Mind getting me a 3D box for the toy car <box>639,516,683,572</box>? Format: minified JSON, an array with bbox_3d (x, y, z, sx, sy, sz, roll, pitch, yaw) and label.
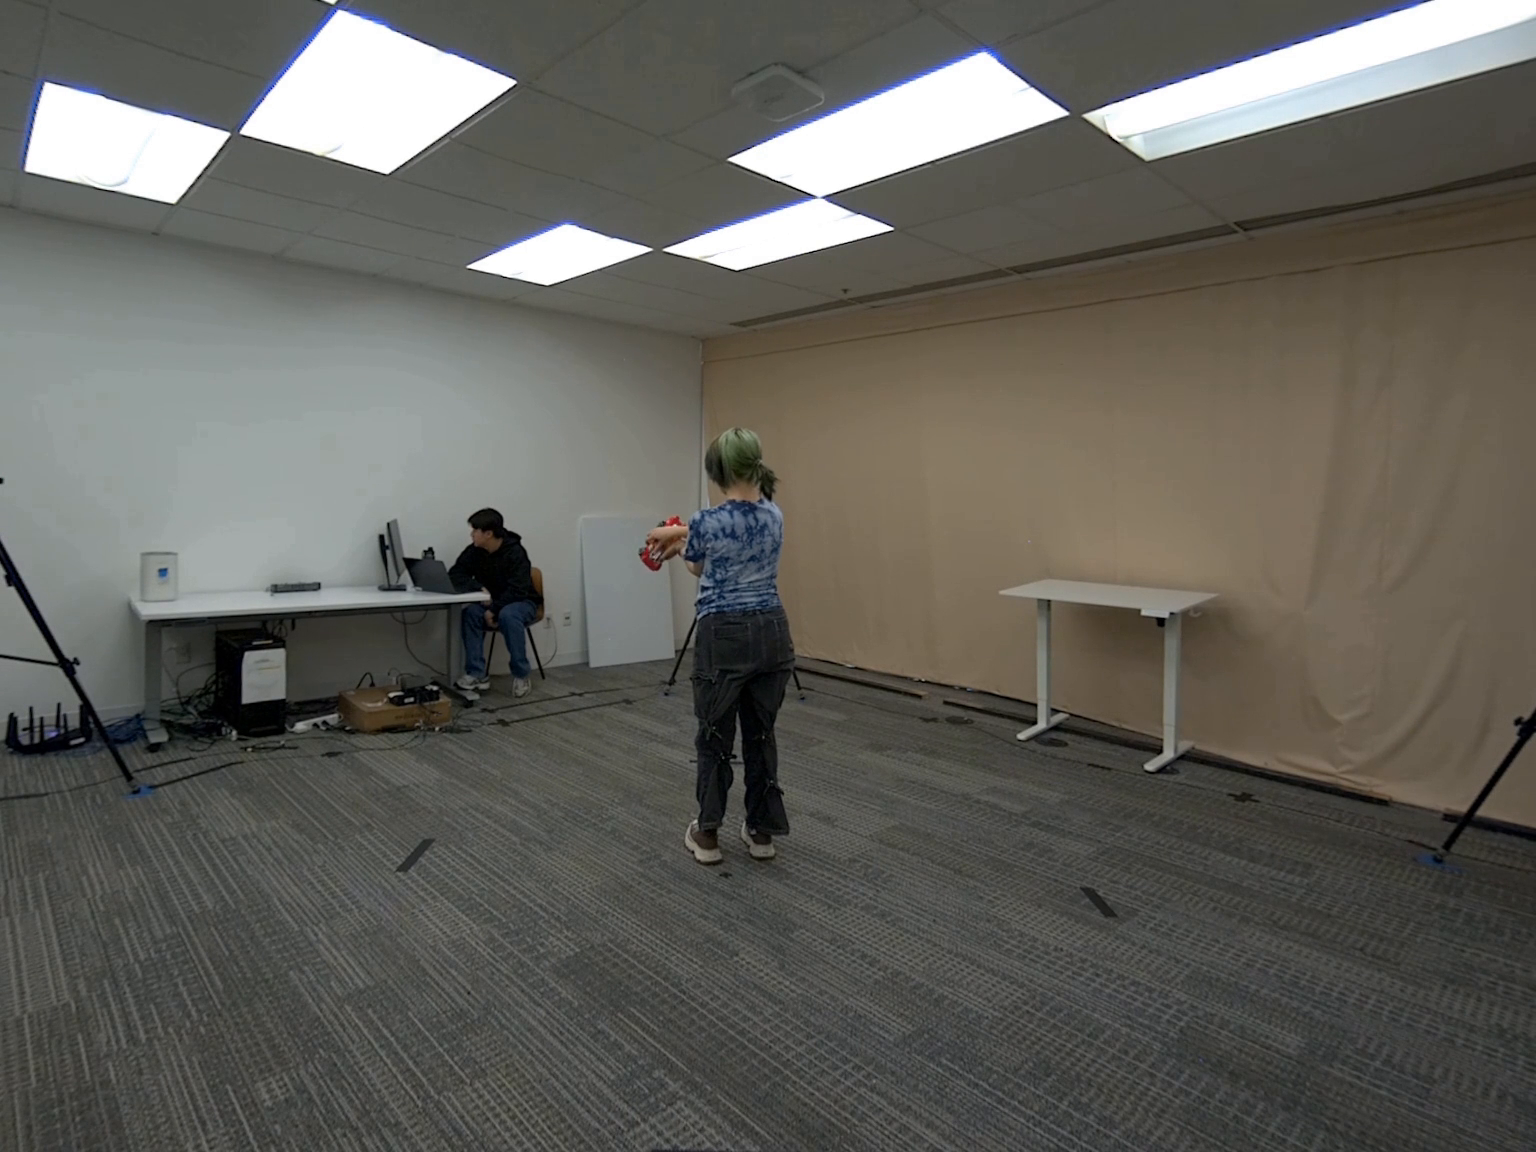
[{"bbox_3d":[-0.447,-0.143,3.594,0.127,0.254,0.085,49,-17,-30],"label":"toy car"}]
